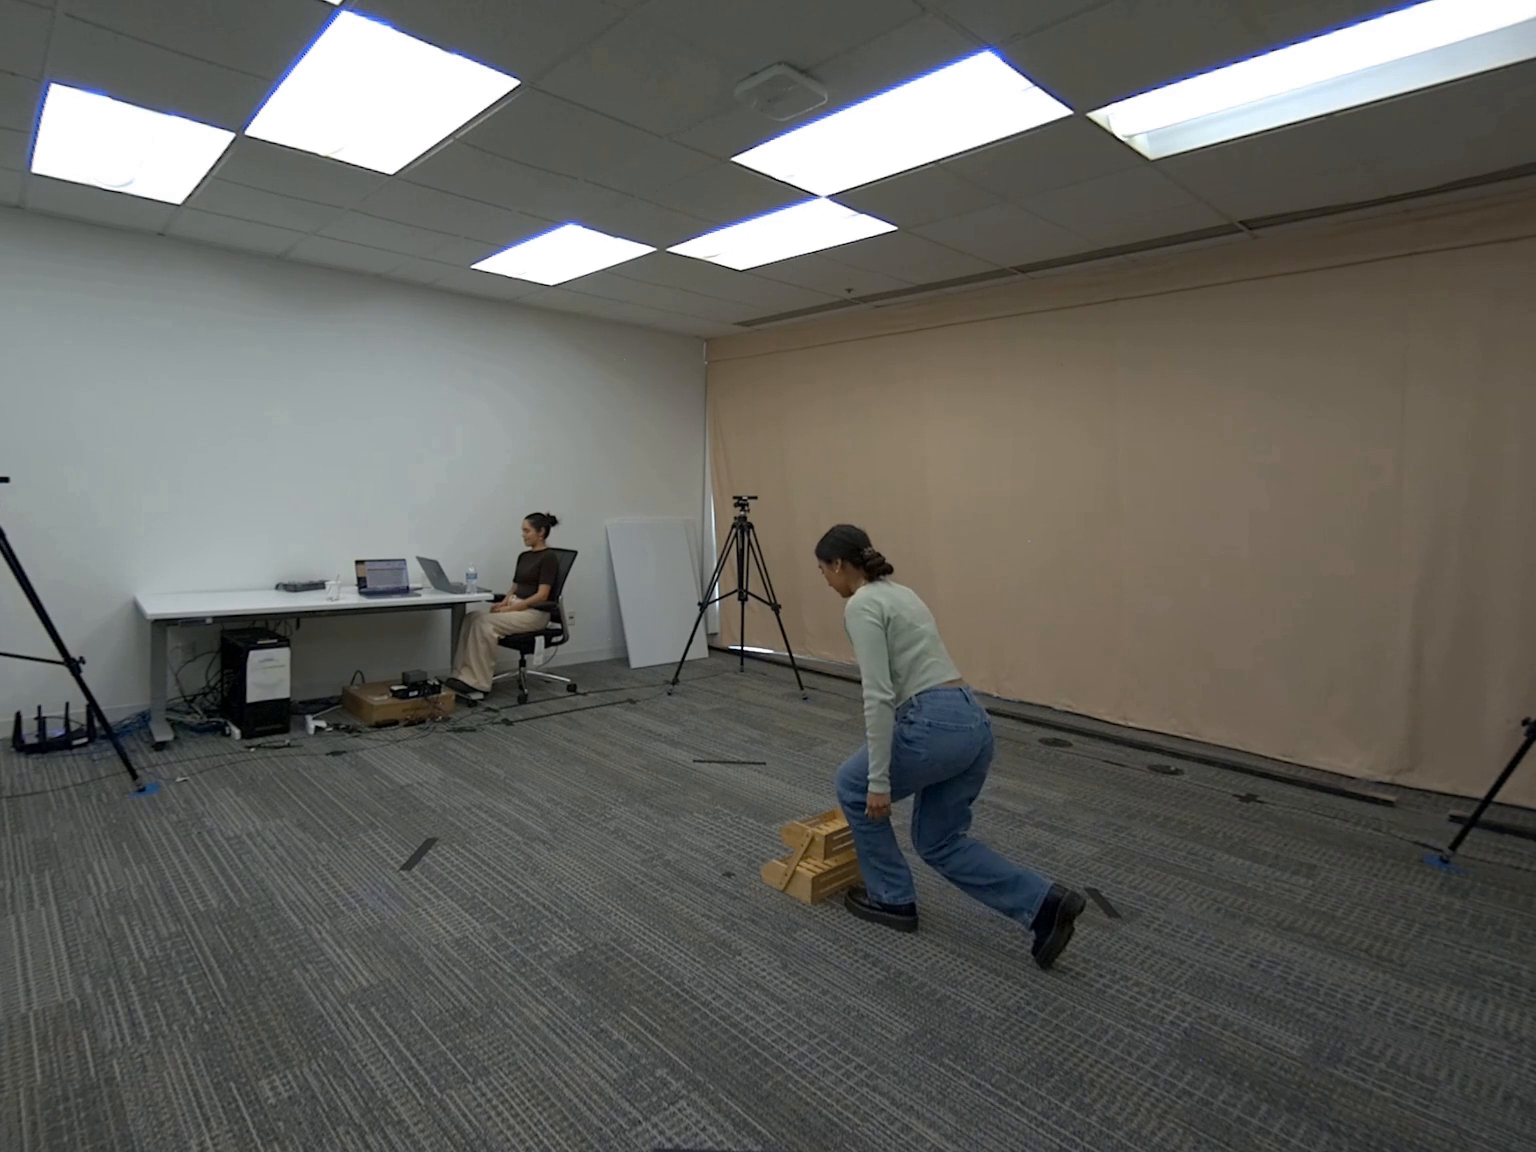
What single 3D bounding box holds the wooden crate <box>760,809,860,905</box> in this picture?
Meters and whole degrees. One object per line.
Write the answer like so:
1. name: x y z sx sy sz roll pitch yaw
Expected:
1. wooden crate: 0.175 0.977 3.057 0.310 0.272 0.317 6 6 44
